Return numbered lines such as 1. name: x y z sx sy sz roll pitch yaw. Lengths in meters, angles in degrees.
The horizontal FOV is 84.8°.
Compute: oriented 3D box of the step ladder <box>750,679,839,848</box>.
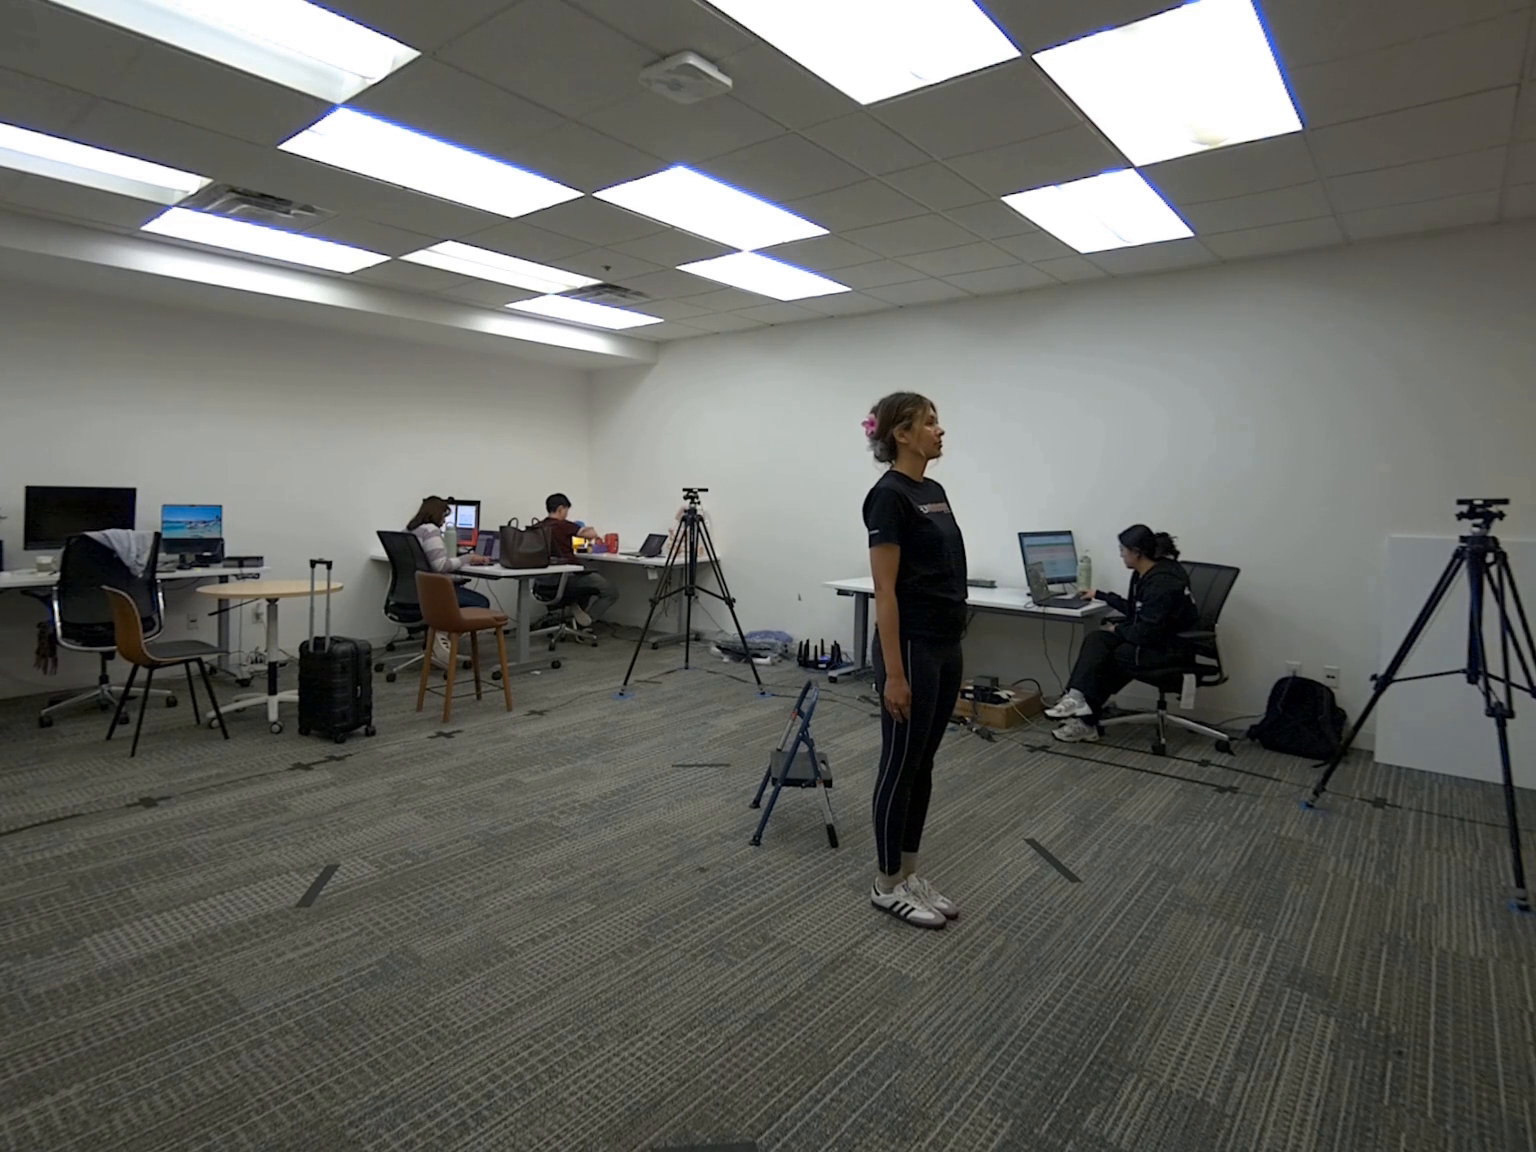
1. step ladder: 0.097 0.735 3.516 0.350 0.604 0.432 0 3 0
